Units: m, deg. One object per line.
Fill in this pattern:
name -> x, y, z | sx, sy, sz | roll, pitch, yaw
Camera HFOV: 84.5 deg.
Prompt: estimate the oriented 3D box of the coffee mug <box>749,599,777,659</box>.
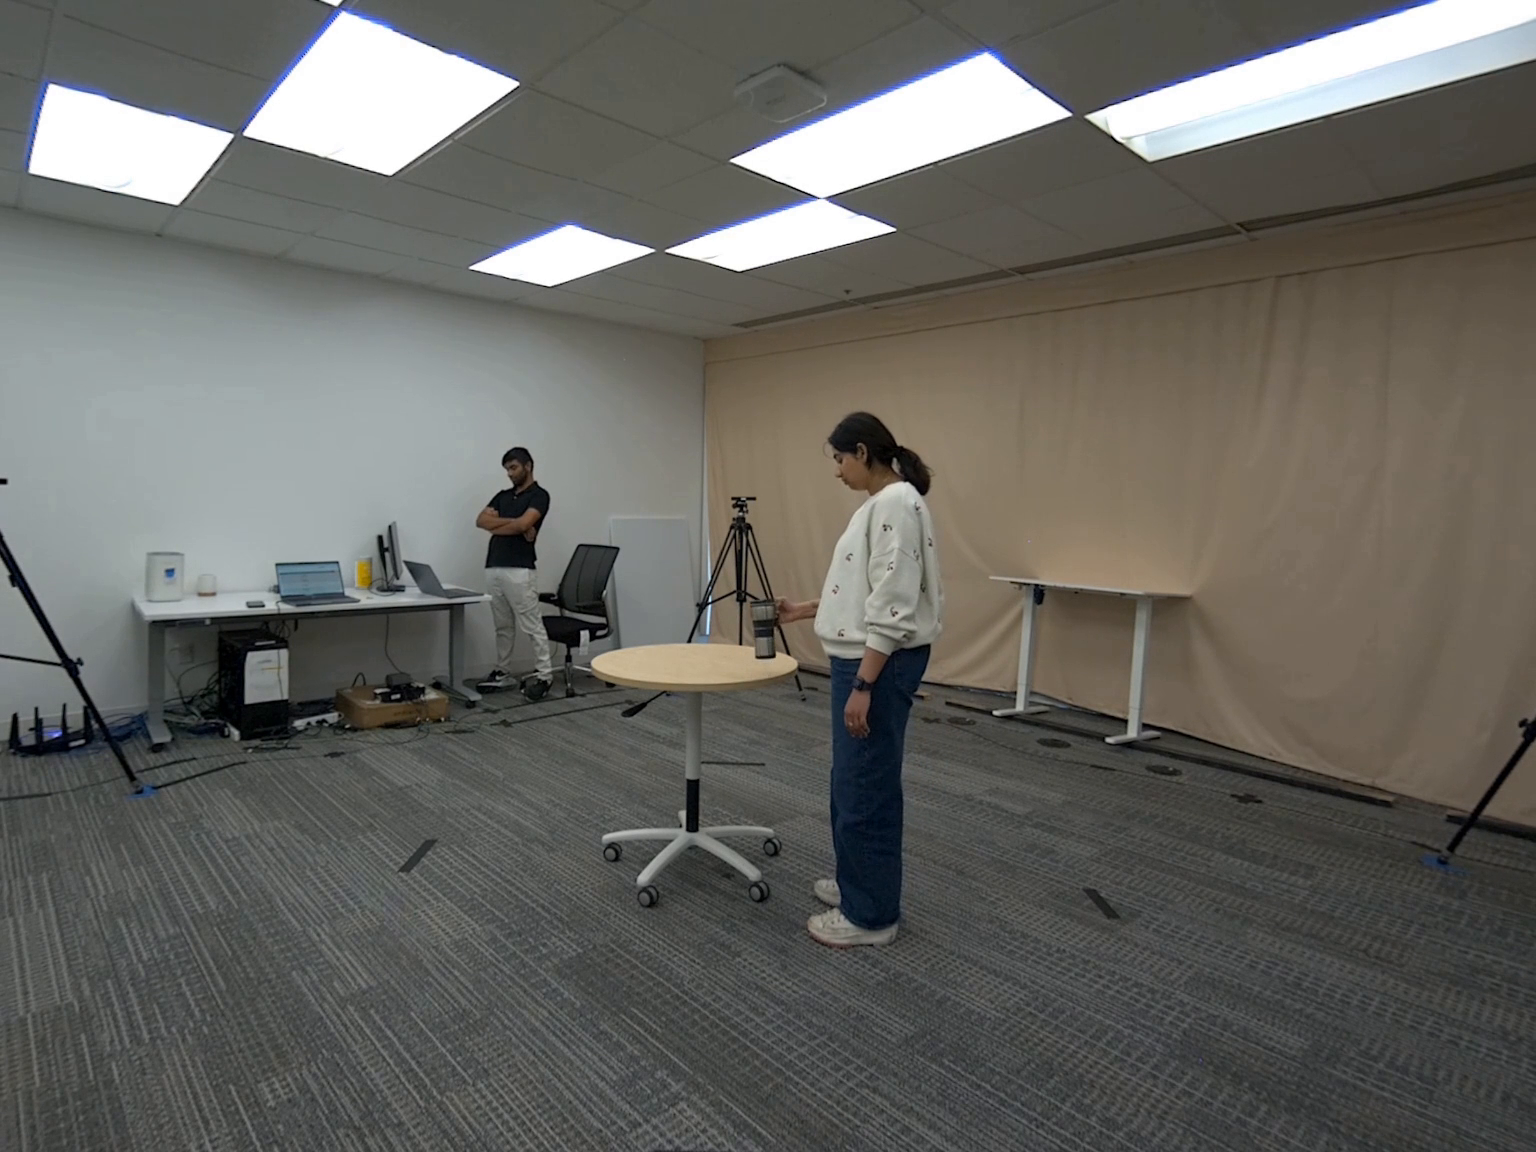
coffee mug -> 0.004, 0.180, 2.893 | 0.121, 0.203, 0.088 | -6, -2, -8
